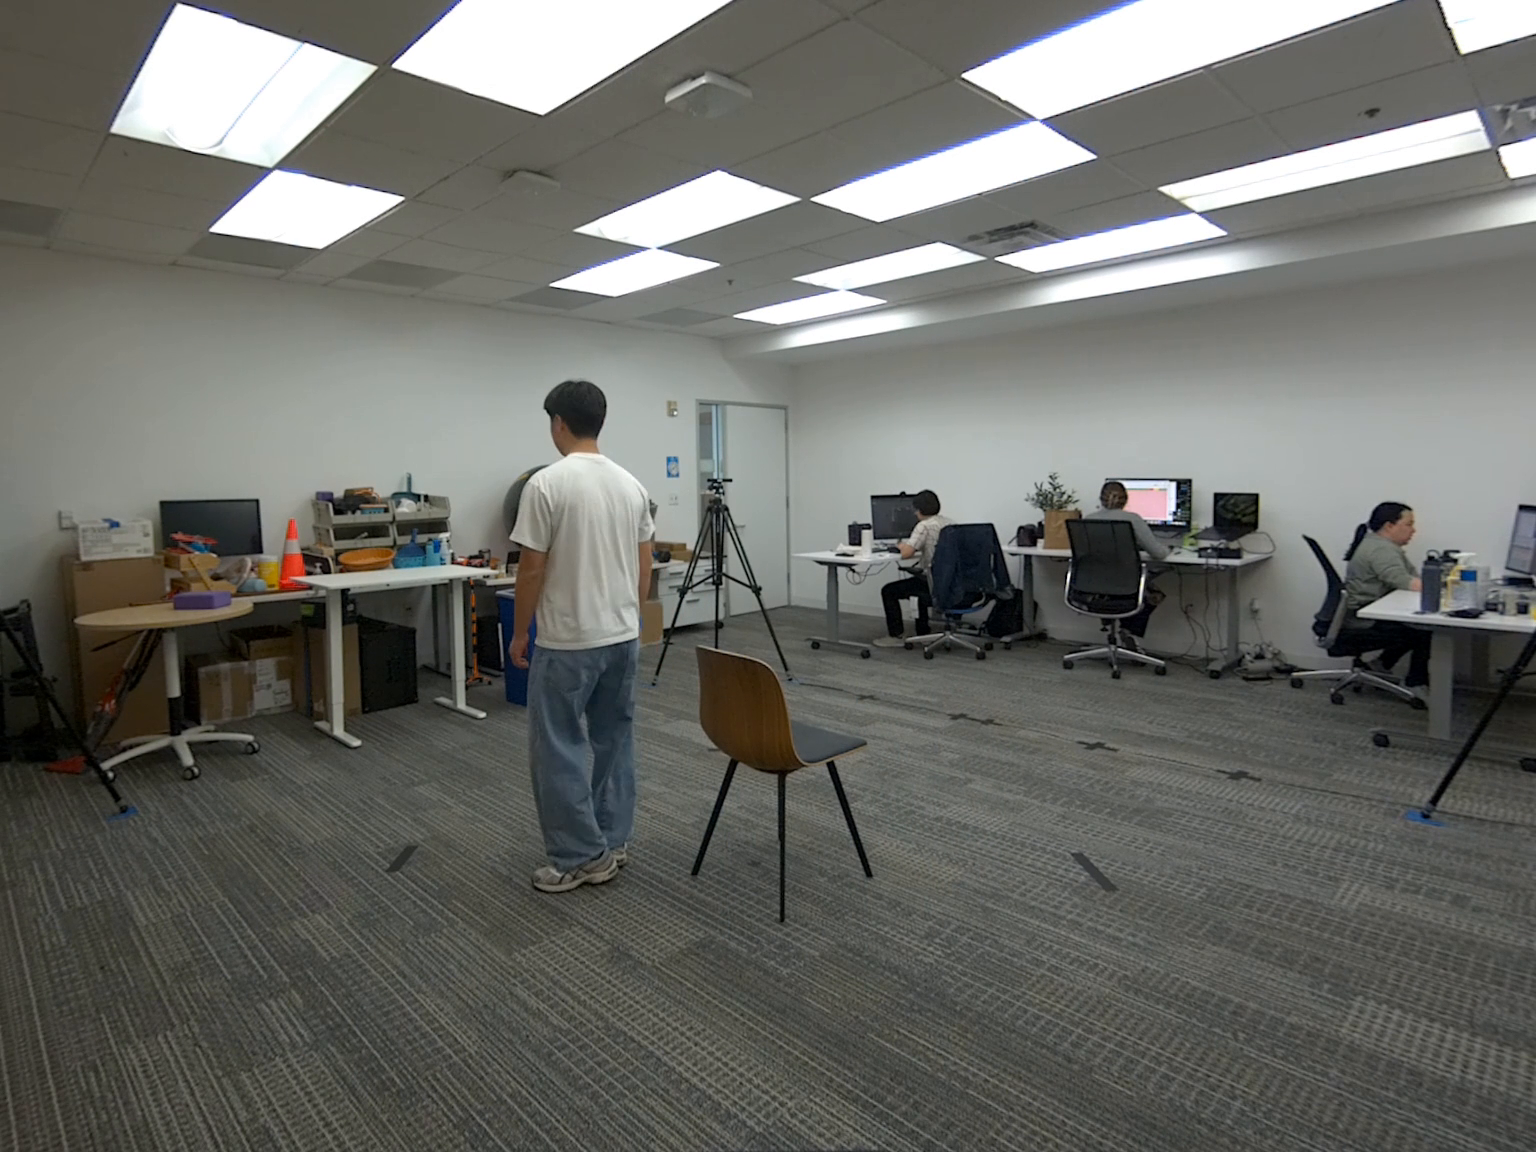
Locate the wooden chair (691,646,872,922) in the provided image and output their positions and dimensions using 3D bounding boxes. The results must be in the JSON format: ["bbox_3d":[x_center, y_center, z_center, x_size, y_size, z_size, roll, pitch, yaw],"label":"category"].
[{"bbox_3d":[0.047,0.629,2.971,0.511,0.871,0.493,-11,10,-43],"label":"wooden chair"}]
